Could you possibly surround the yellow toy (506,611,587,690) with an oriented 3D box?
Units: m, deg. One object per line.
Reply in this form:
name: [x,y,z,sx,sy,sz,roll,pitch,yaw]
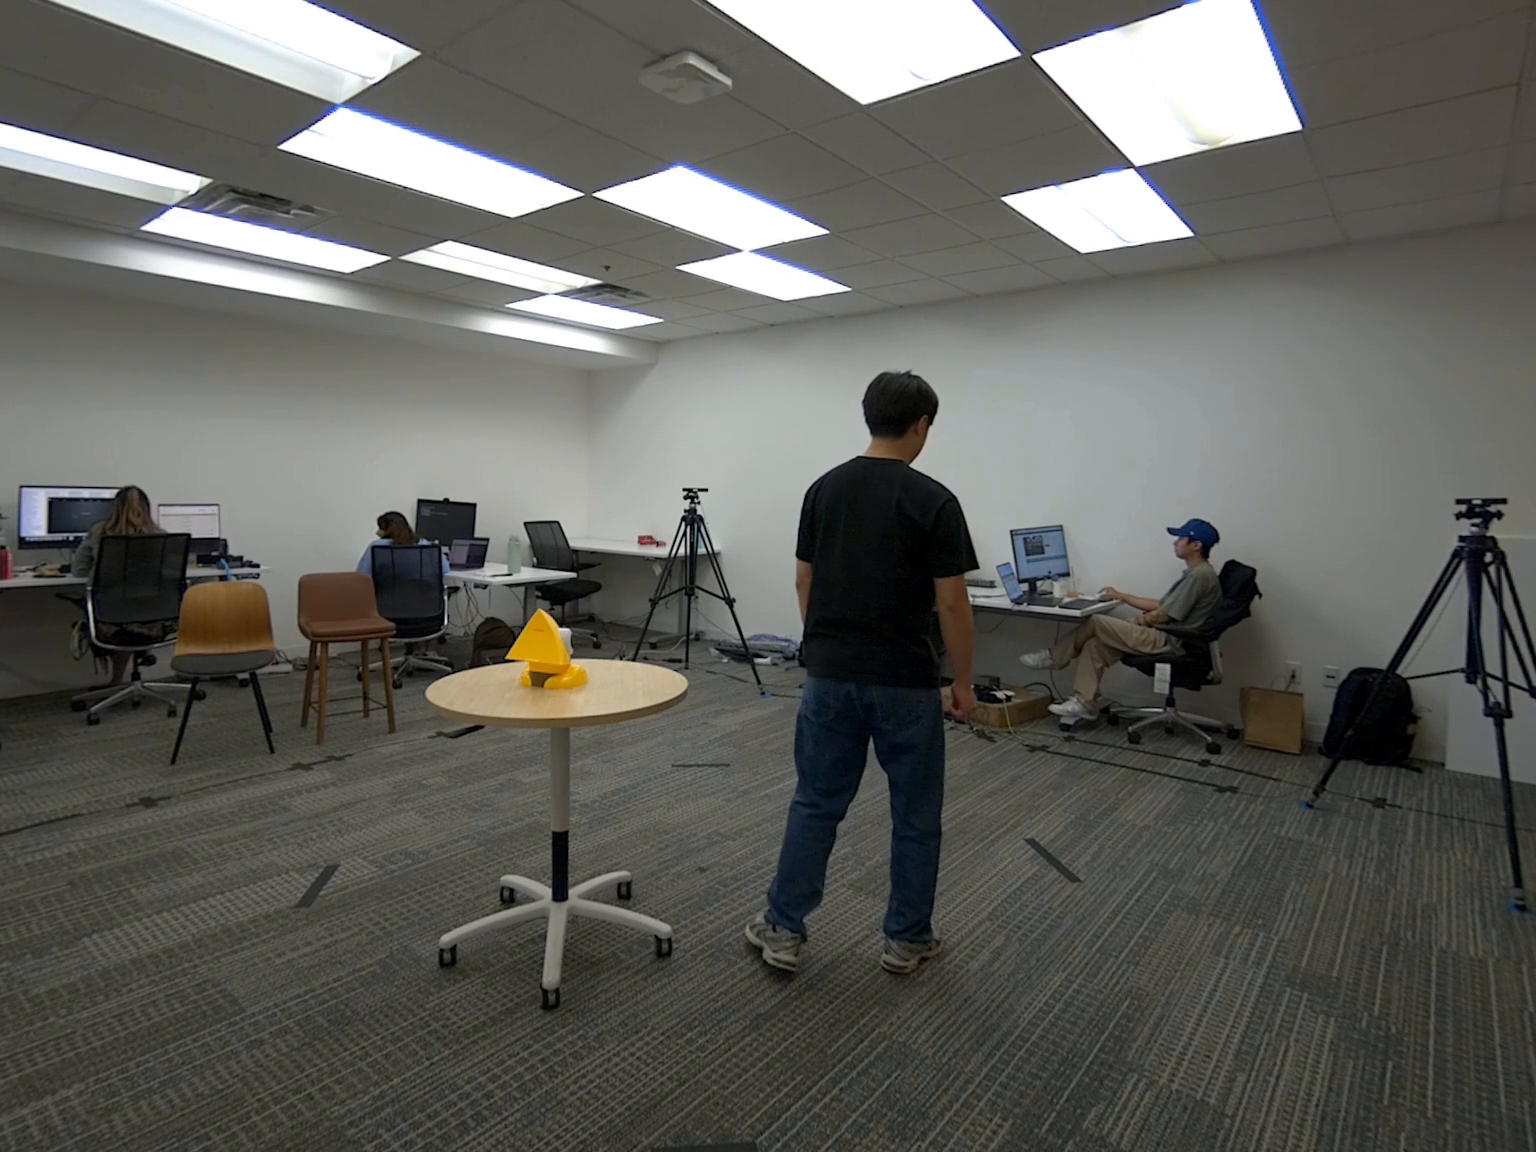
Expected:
yellow toy: [-0.665,0.206,2.565,0.210,0.230,0.189,3,4,25]
